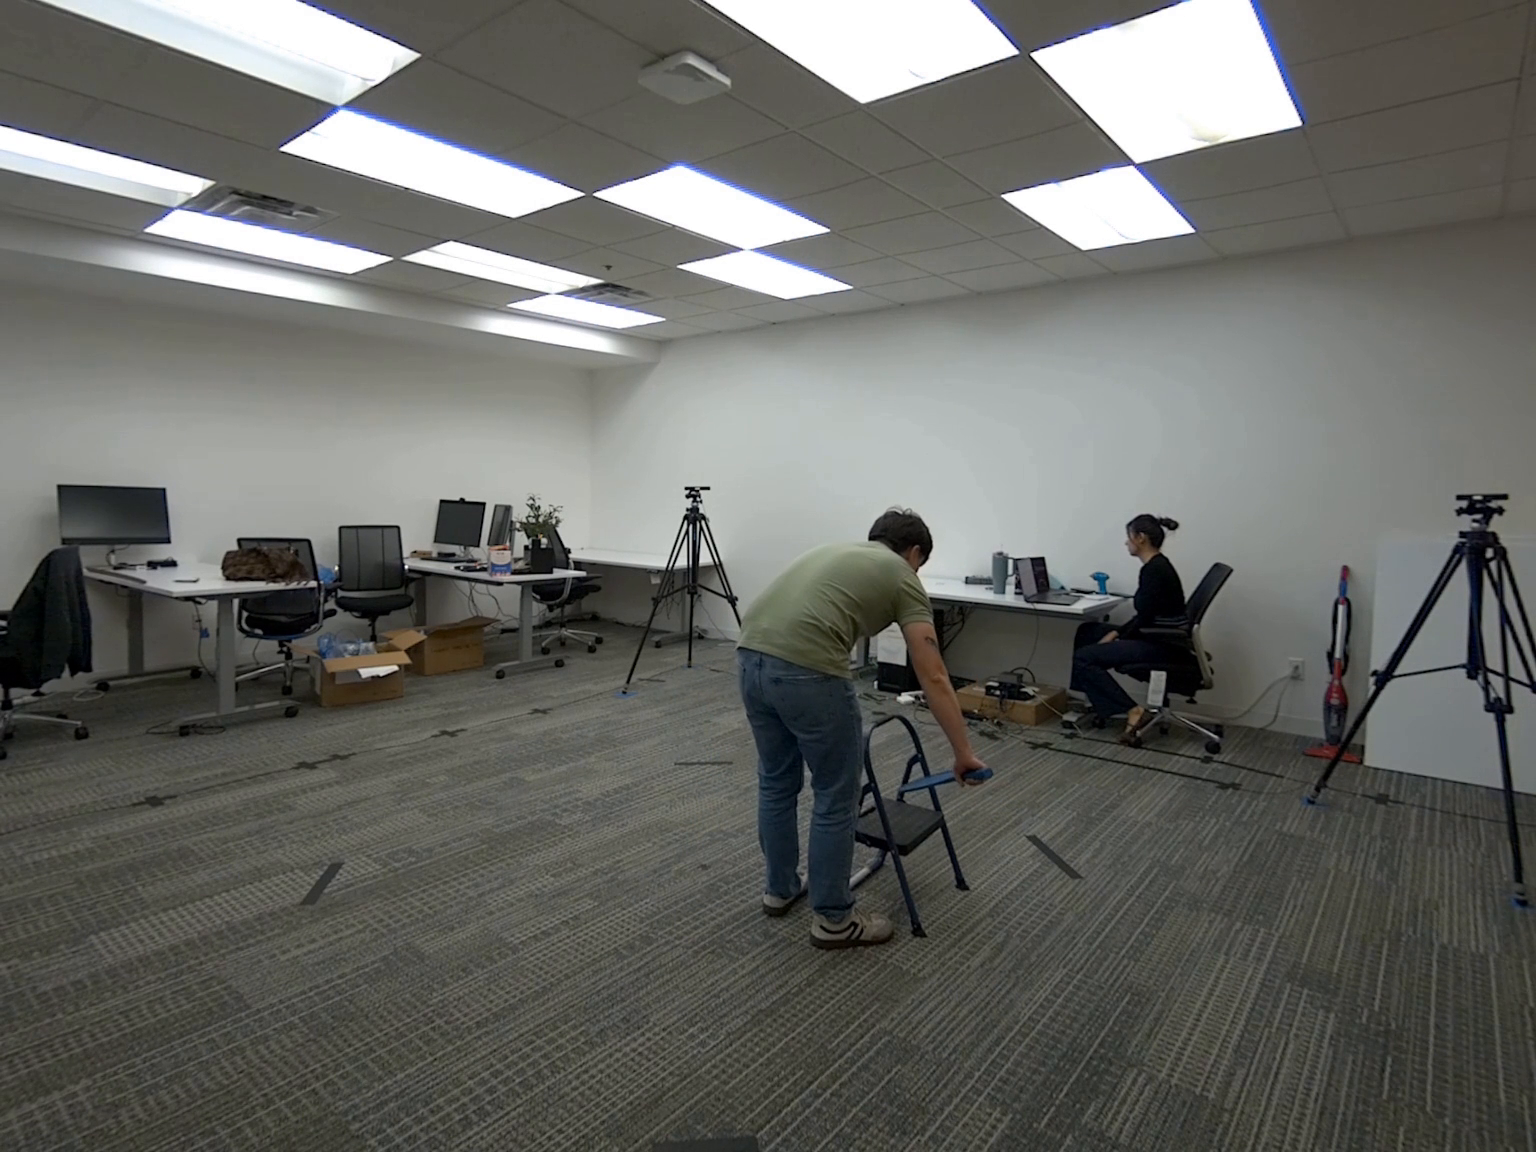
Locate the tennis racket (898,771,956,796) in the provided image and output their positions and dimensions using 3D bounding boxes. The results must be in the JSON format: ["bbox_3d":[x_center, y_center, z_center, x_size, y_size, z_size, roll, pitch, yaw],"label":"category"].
[{"bbox_3d":[0.542,0.656,2.675,0.210,0.032,0.434,-13,-11,-23],"label":"tennis racket"}]
